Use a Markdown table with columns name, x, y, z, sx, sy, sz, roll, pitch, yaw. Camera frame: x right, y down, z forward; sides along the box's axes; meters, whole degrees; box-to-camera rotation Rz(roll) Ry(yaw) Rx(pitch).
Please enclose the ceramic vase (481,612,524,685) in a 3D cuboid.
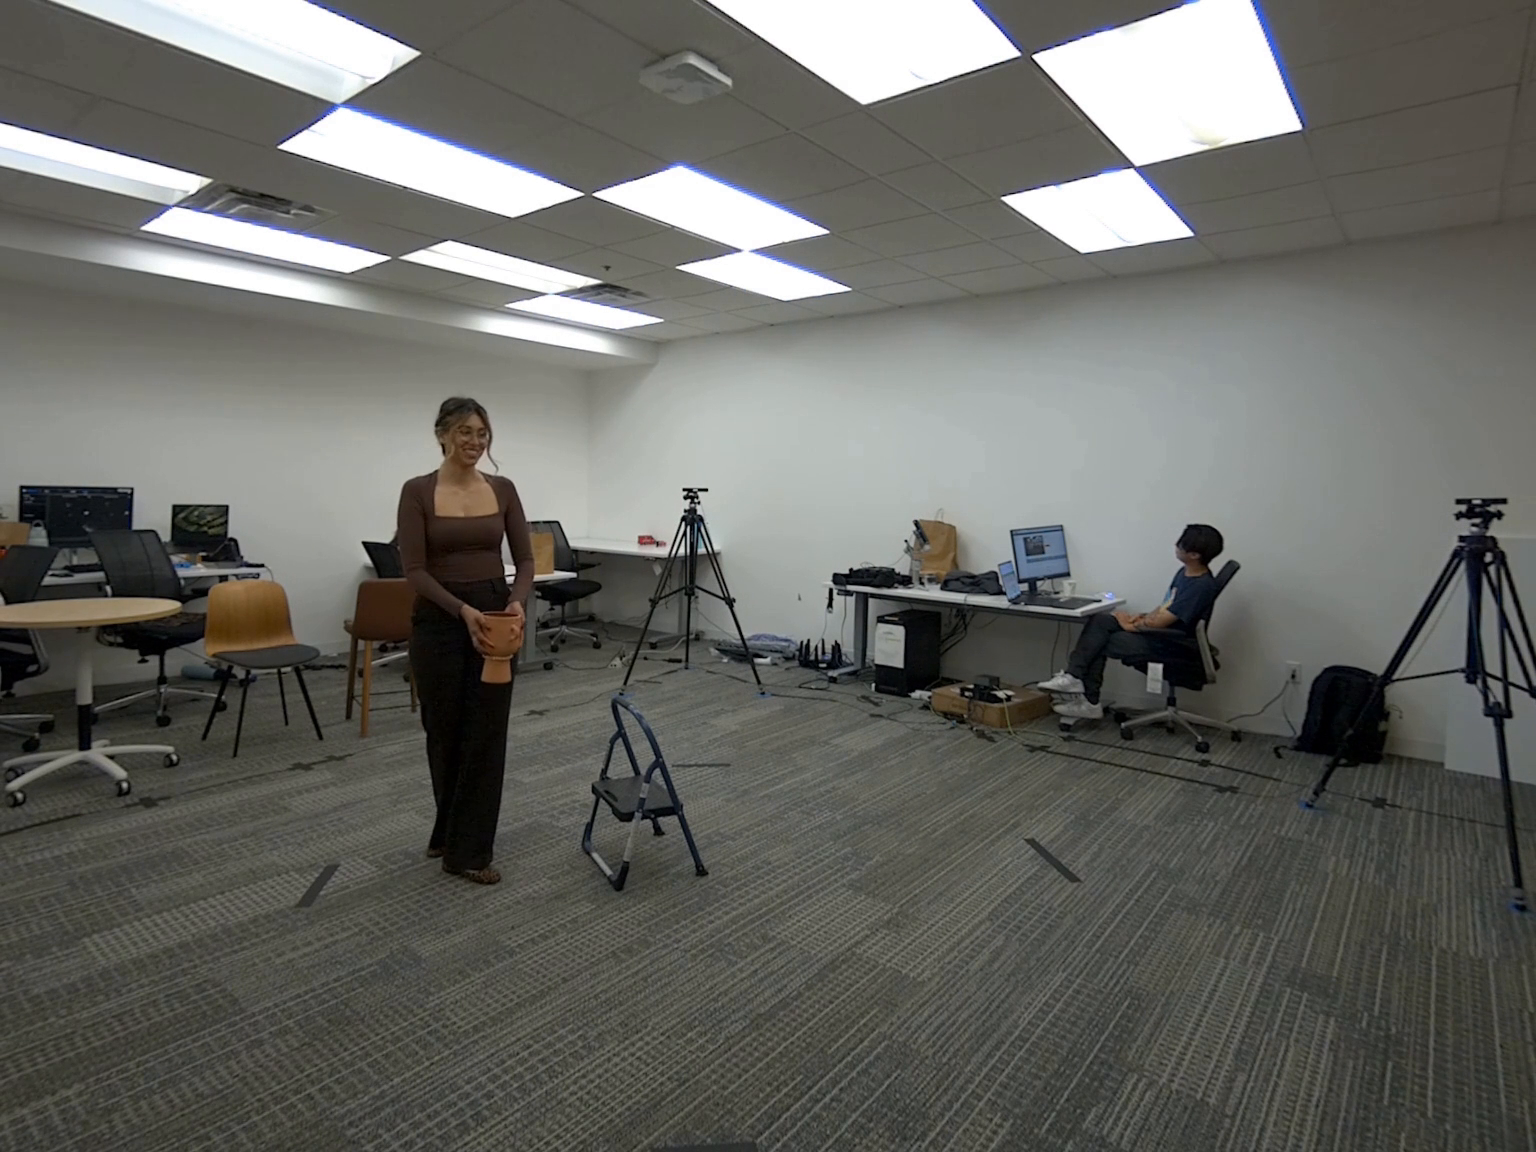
| name | x | y | z | sx | sy | sz | roll | pitch | yaw |
| --- | --- | --- | --- | --- | --- | --- | --- | --- | --- |
| ceramic vase | -0.914 | 0.237 | 2.845 | 0.132 | 0.219 | 0.162 | 4 | 2 | -17 |
